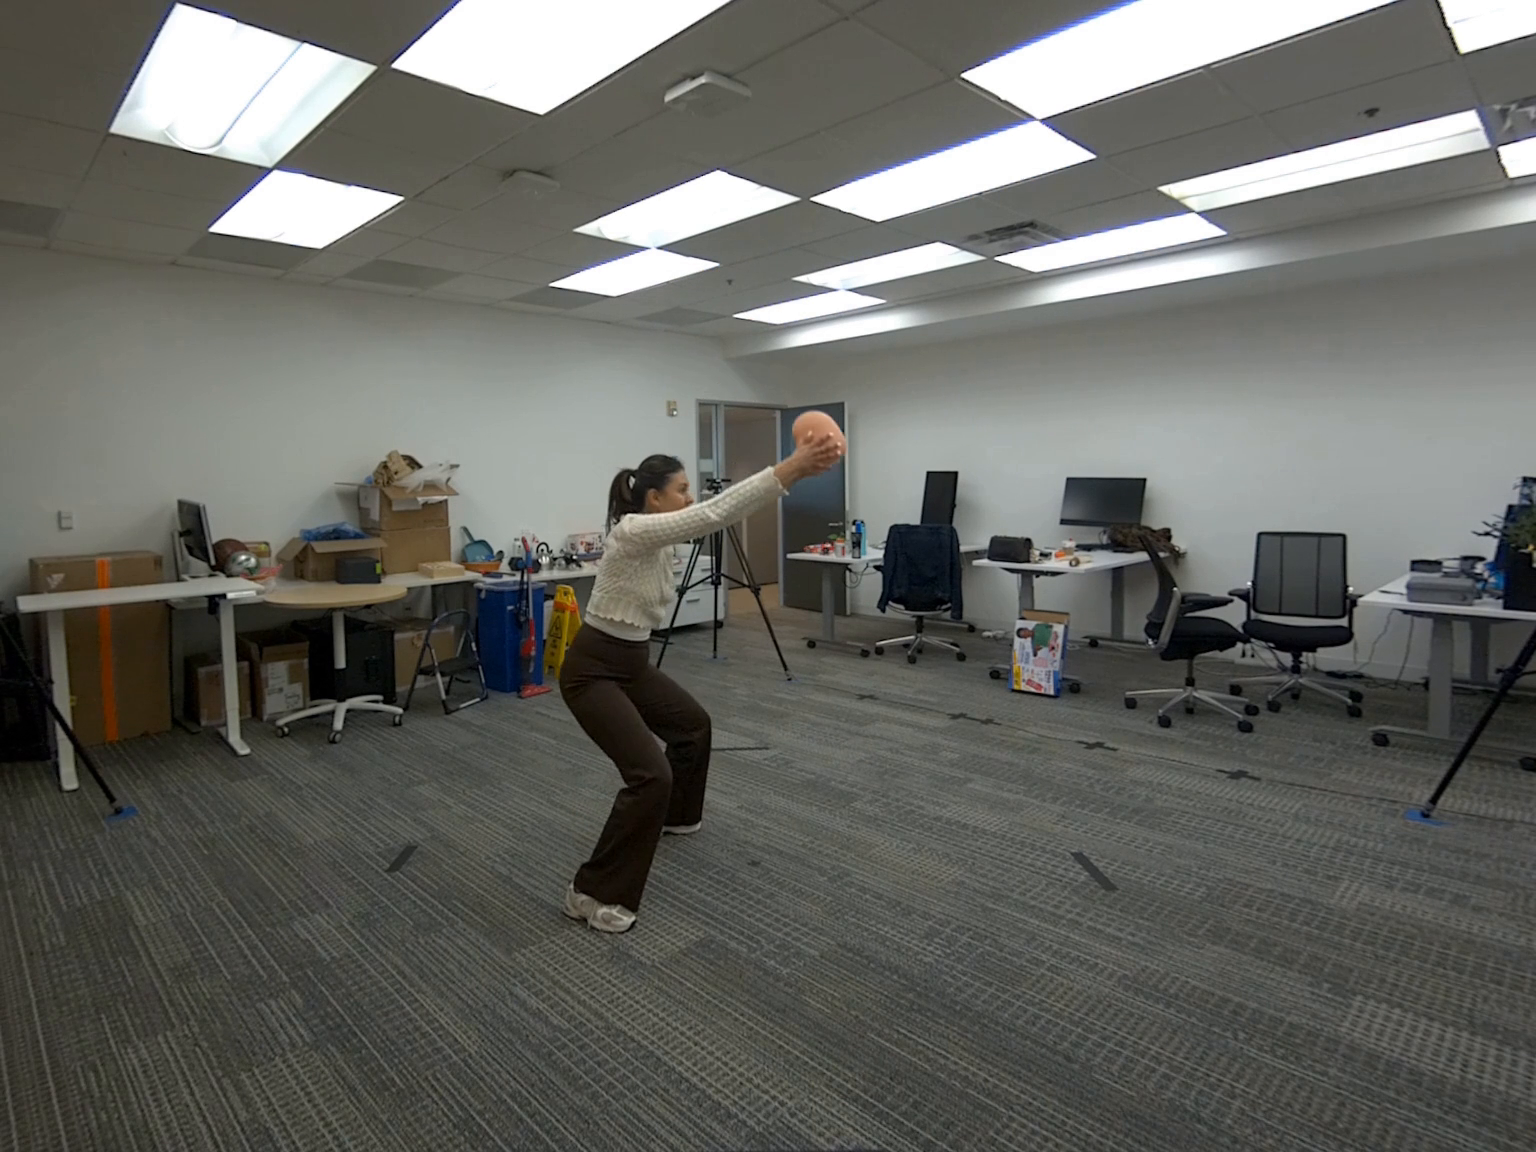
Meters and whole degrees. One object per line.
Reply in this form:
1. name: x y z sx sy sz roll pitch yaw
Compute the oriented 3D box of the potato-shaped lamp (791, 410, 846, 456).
1. potato-shaped lamp: 0.162 -0.450 2.845 0.172 0.198 0.163 -30 0 15
